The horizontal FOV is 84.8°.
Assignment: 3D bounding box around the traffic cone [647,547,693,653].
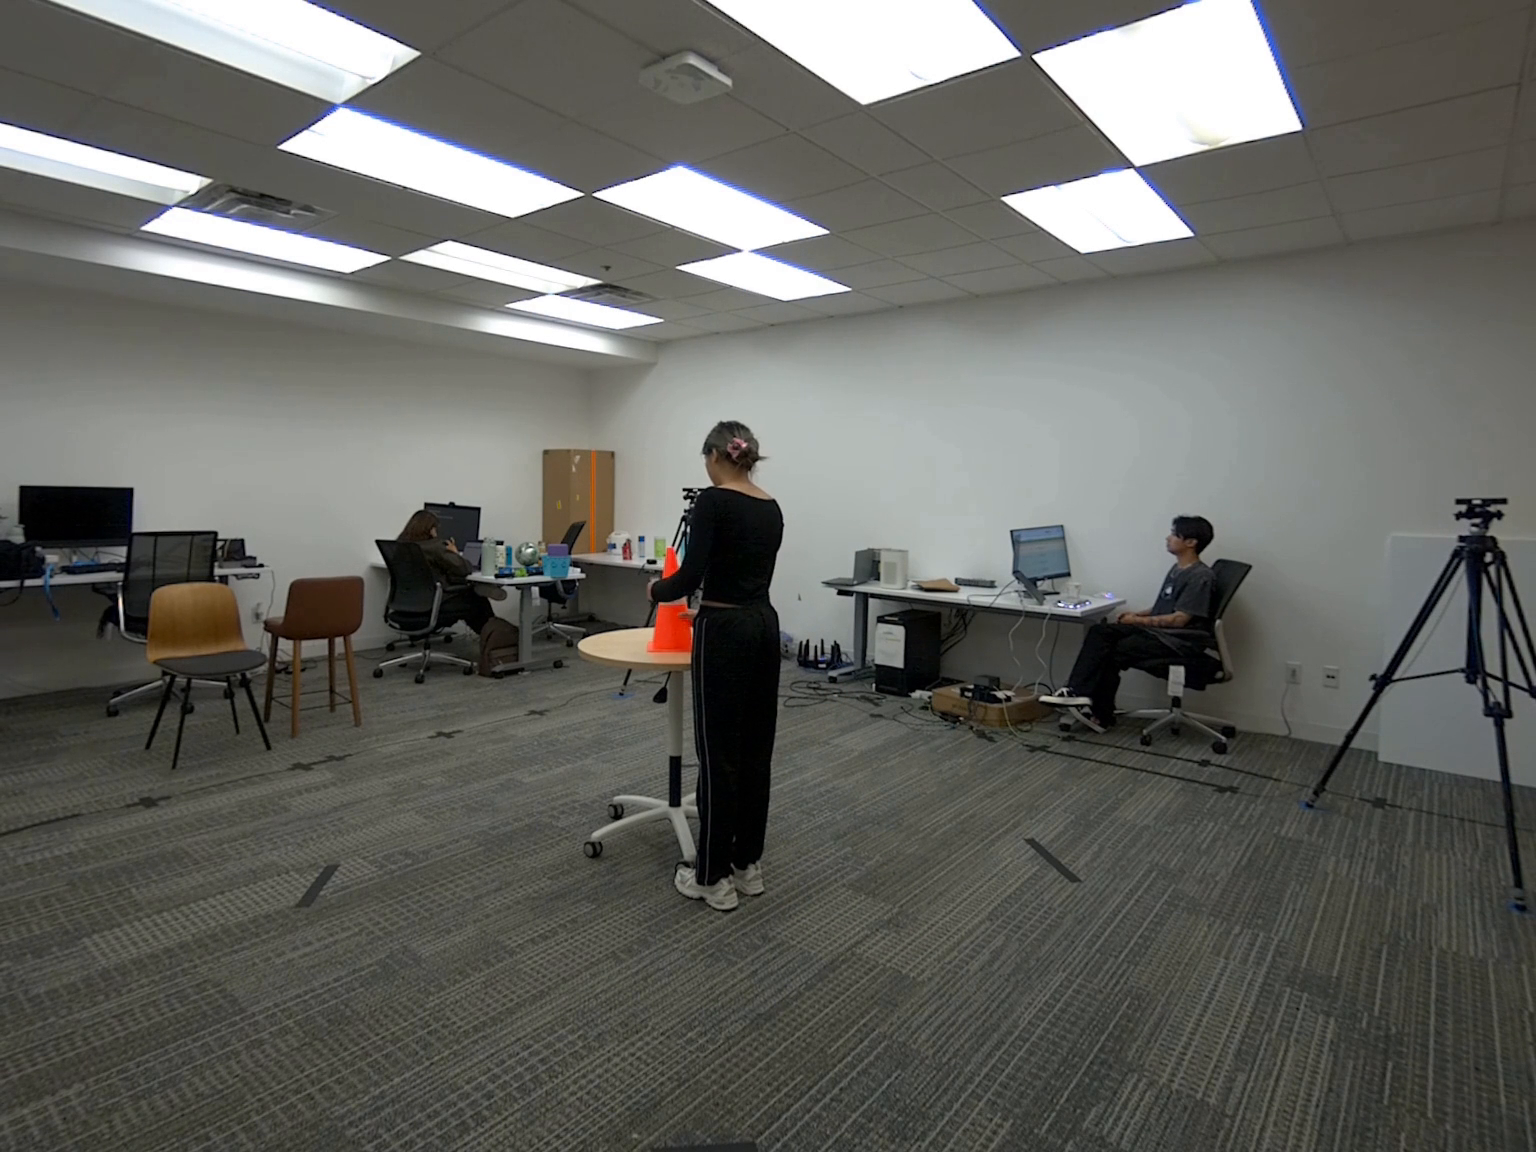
[{"bbox_3d":[-0.382,0.080,3.248,0.205,0.383,0.204,-2,3,-1],"label":"traffic cone"}]
